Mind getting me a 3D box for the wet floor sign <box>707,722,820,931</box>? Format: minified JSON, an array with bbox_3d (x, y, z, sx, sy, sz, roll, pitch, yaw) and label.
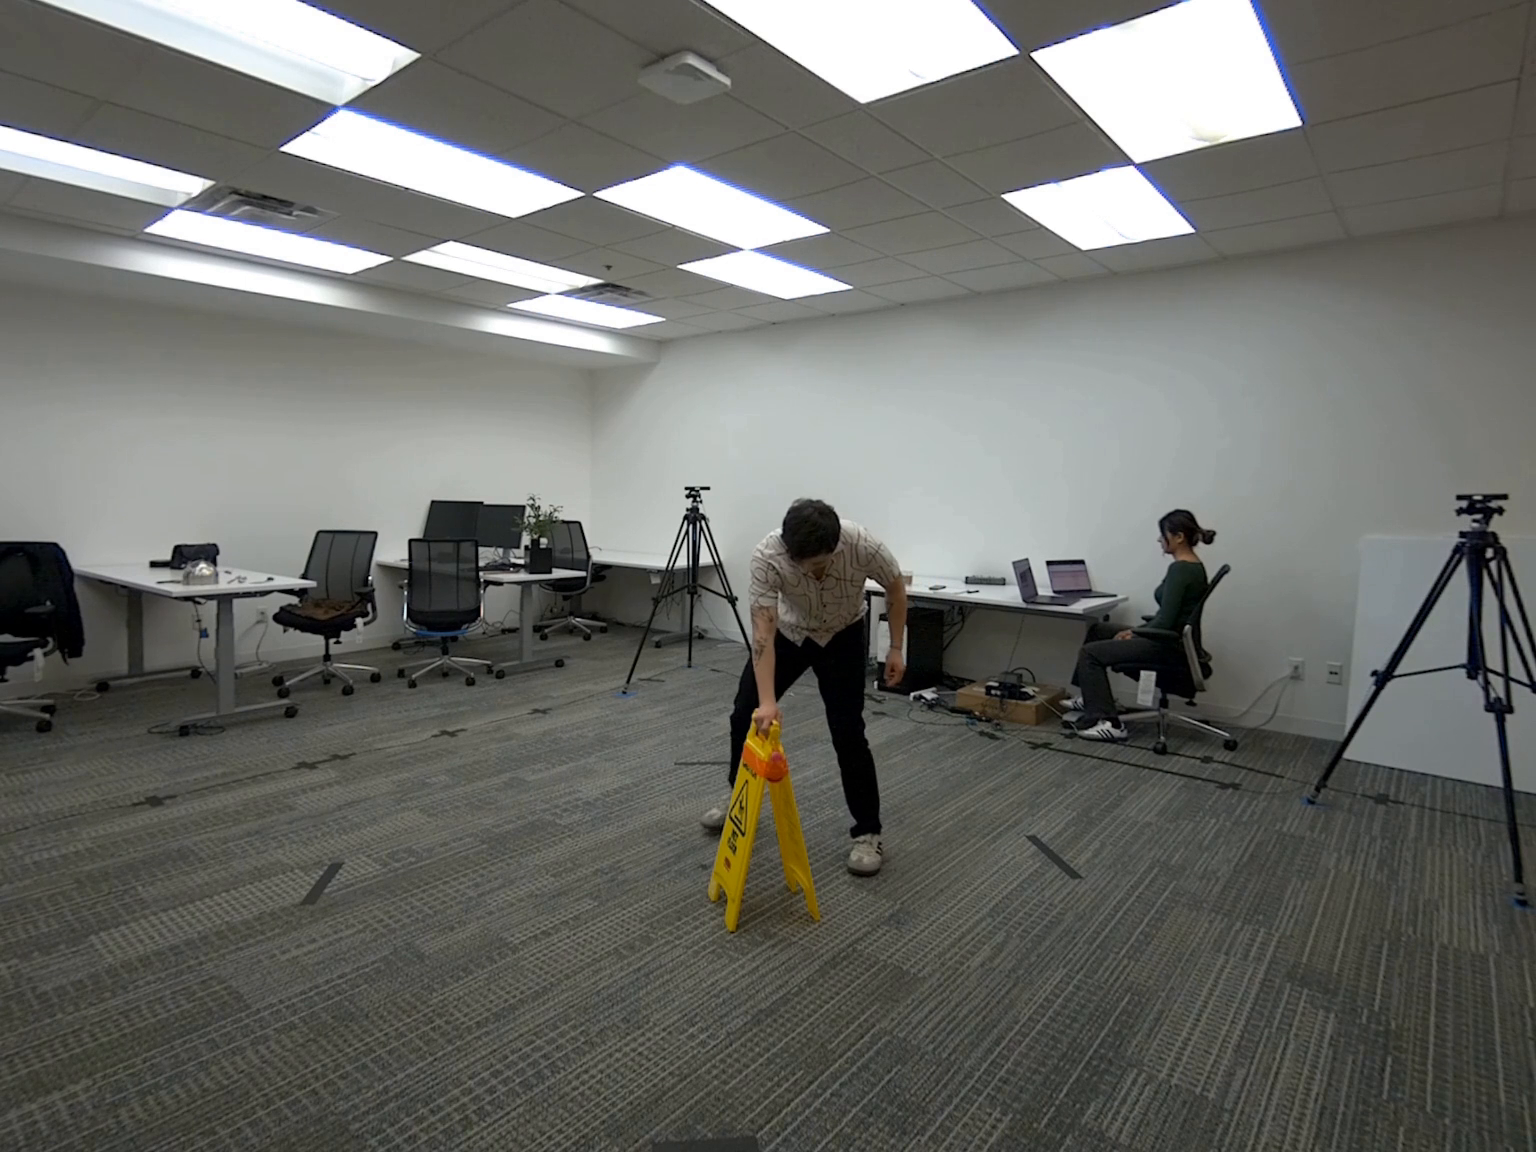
[{"bbox_3d":[-0.022,0.770,2.811,0.284,0.644,0.288,1,4,-18],"label":"wet floor sign"}]
